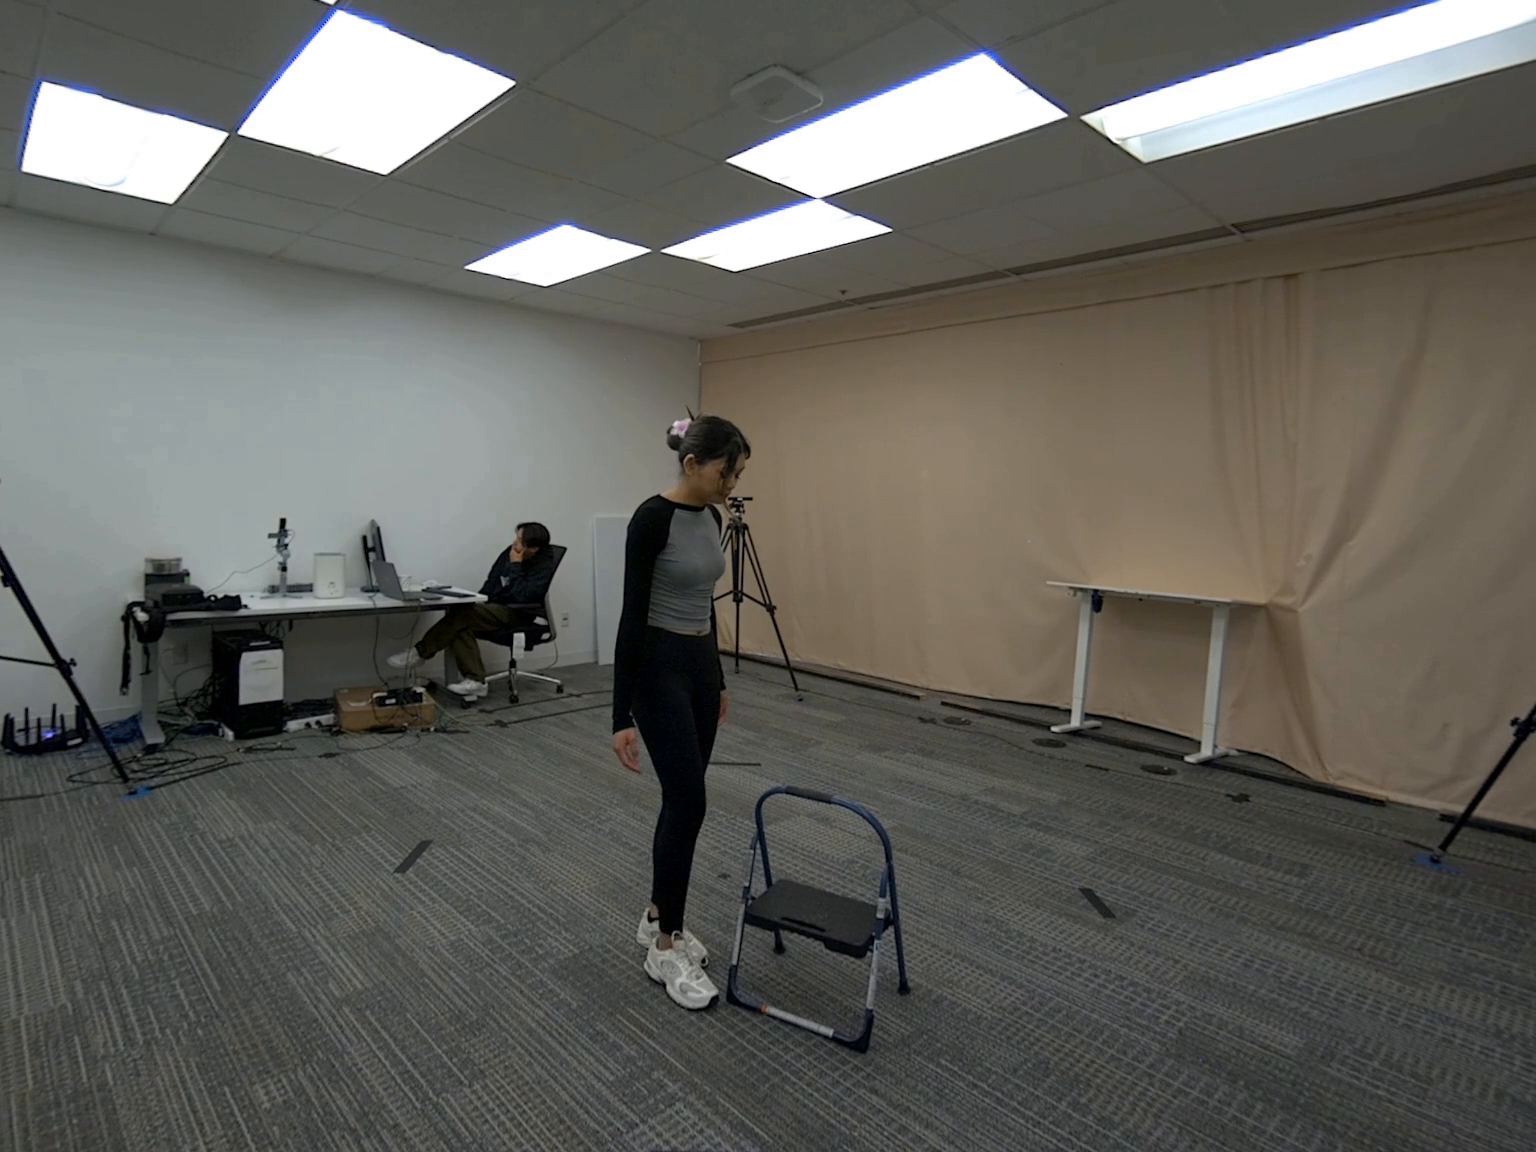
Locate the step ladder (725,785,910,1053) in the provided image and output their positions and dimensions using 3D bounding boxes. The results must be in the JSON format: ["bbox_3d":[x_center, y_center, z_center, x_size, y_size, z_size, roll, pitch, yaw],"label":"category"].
[{"bbox_3d":[0.146,0.883,2.349,0.439,0.604,0.343,3,4,28],"label":"step ladder"}]
